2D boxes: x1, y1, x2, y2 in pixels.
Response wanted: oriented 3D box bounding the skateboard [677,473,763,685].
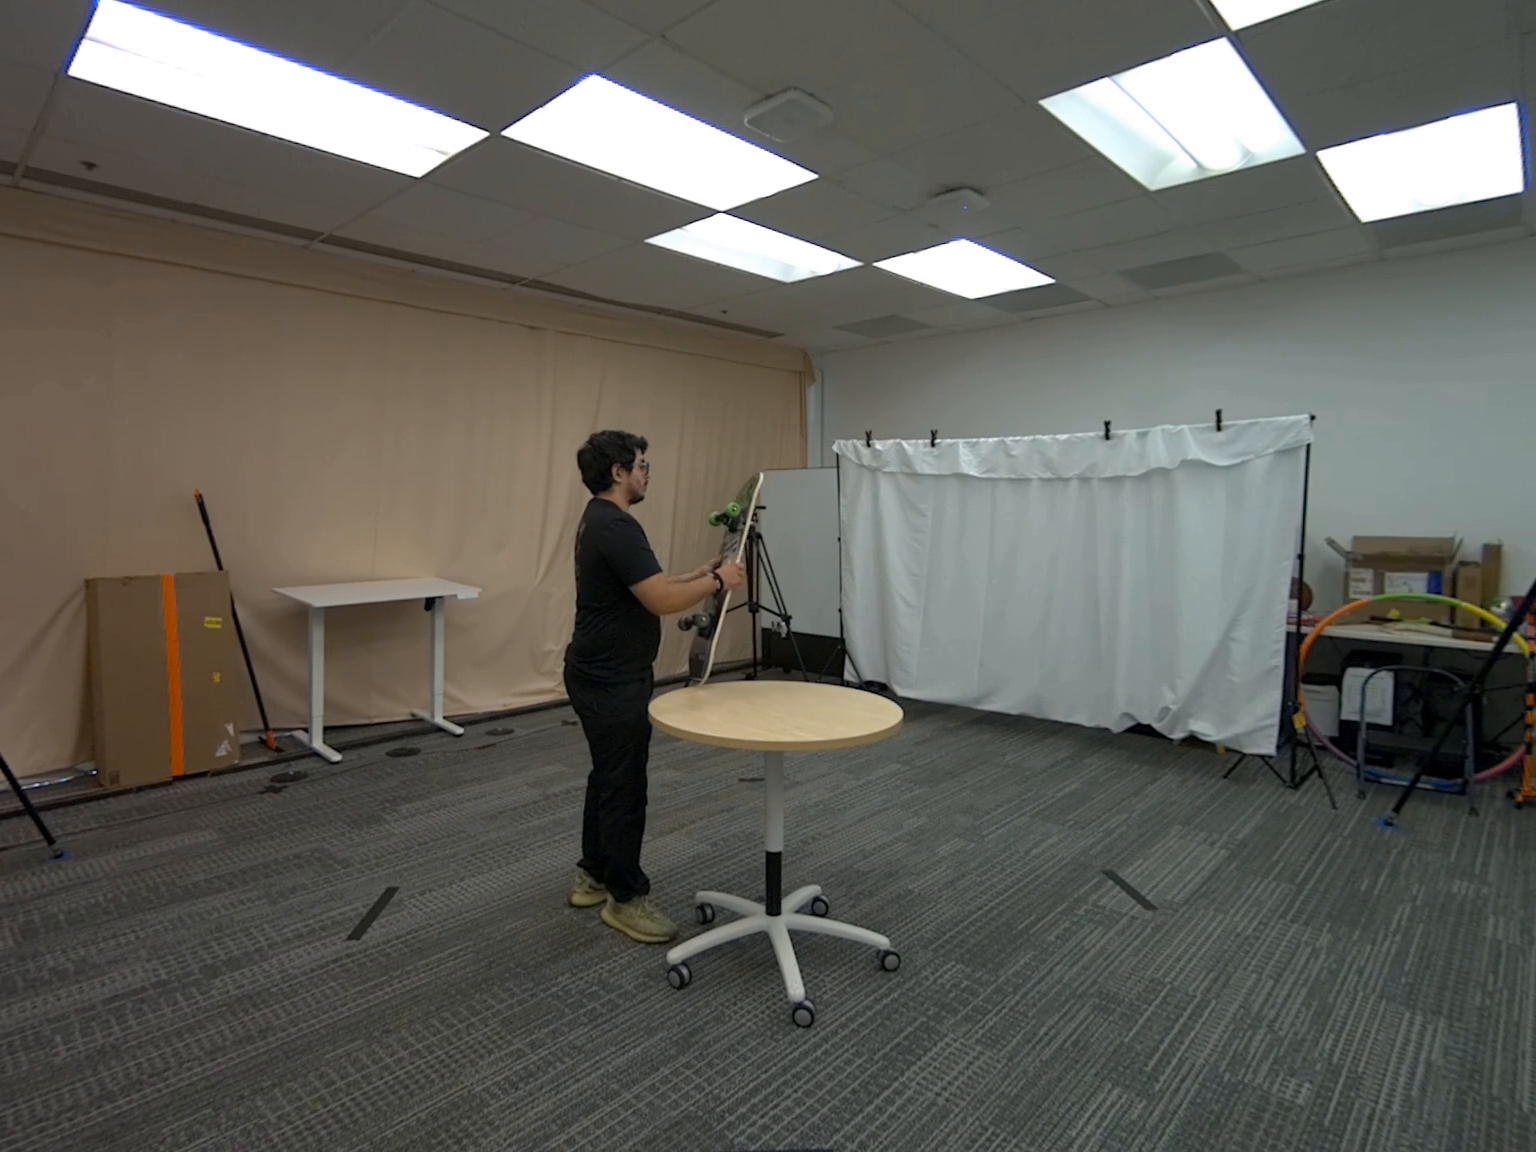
[{"bbox_3d":[-0.171,-0.016,2.911,0.107,0.789,0.197,22,-18,-23],"label":"skateboard"}]
